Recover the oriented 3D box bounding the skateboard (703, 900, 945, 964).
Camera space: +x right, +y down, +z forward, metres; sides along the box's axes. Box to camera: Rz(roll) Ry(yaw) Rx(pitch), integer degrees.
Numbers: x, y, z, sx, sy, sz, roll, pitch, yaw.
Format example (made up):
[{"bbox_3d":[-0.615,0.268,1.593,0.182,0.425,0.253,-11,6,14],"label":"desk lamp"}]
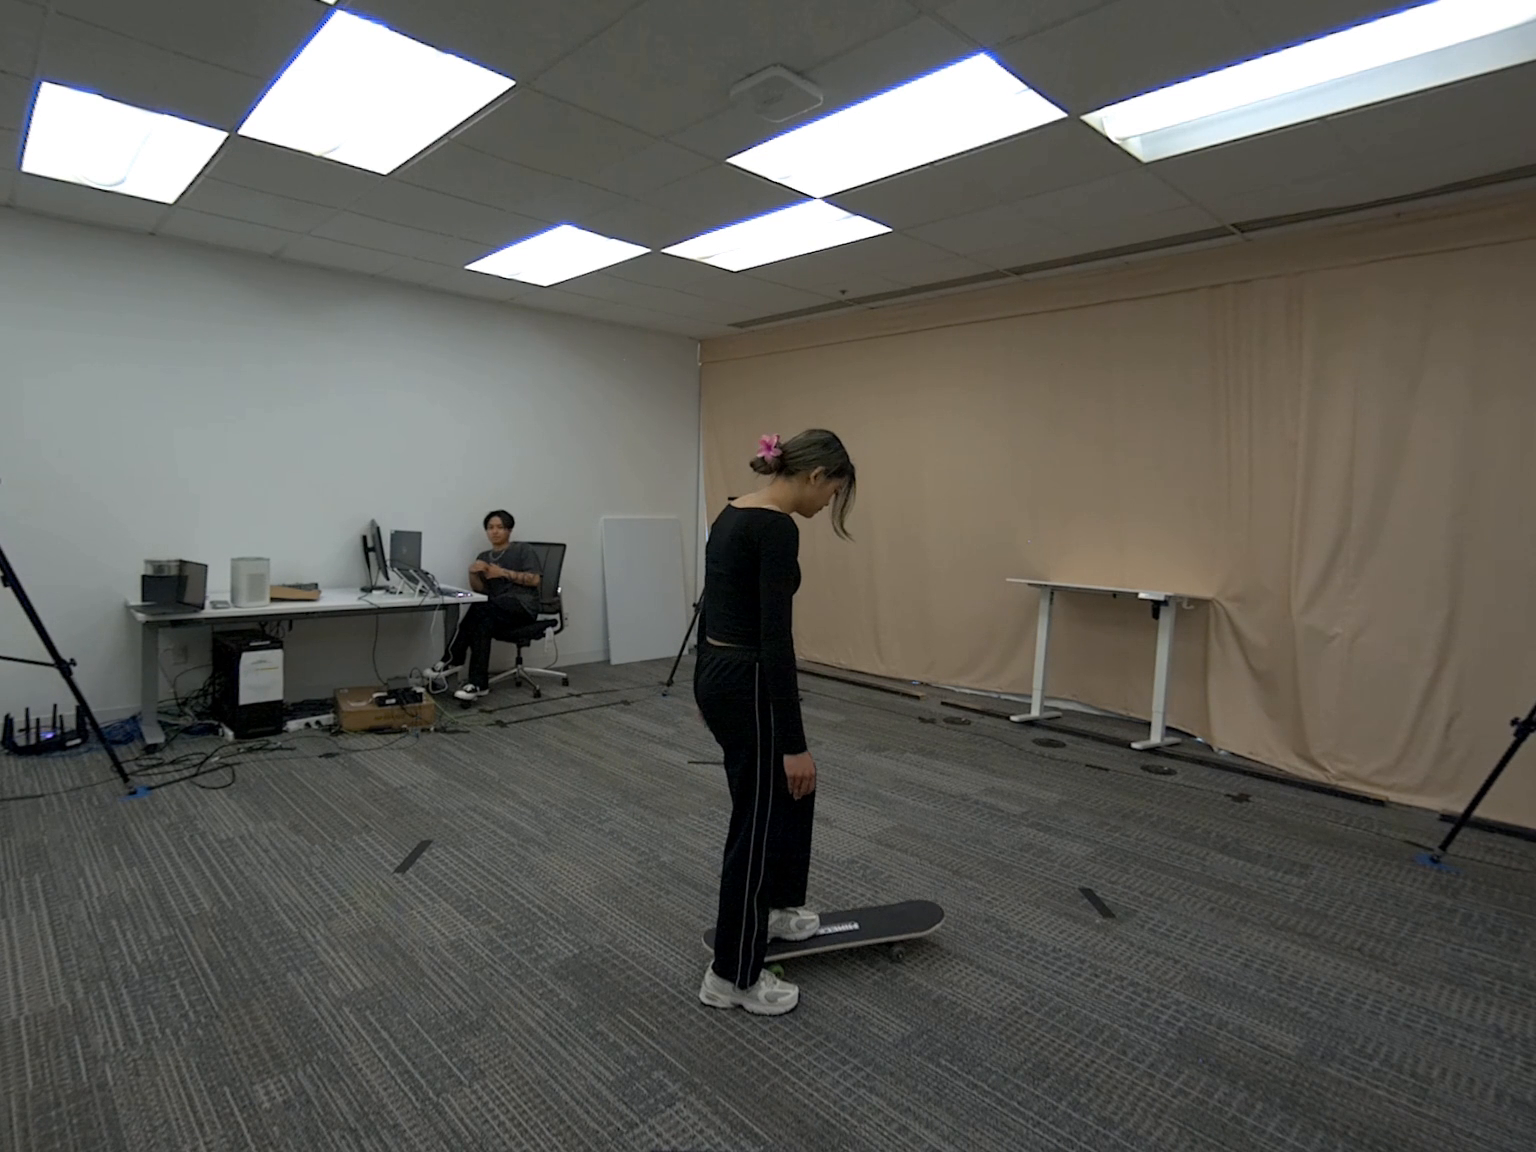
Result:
[{"bbox_3d":[0.174,1.108,2.559,0.775,0.110,0.197,-1,6,-17],"label":"skateboard"}]
